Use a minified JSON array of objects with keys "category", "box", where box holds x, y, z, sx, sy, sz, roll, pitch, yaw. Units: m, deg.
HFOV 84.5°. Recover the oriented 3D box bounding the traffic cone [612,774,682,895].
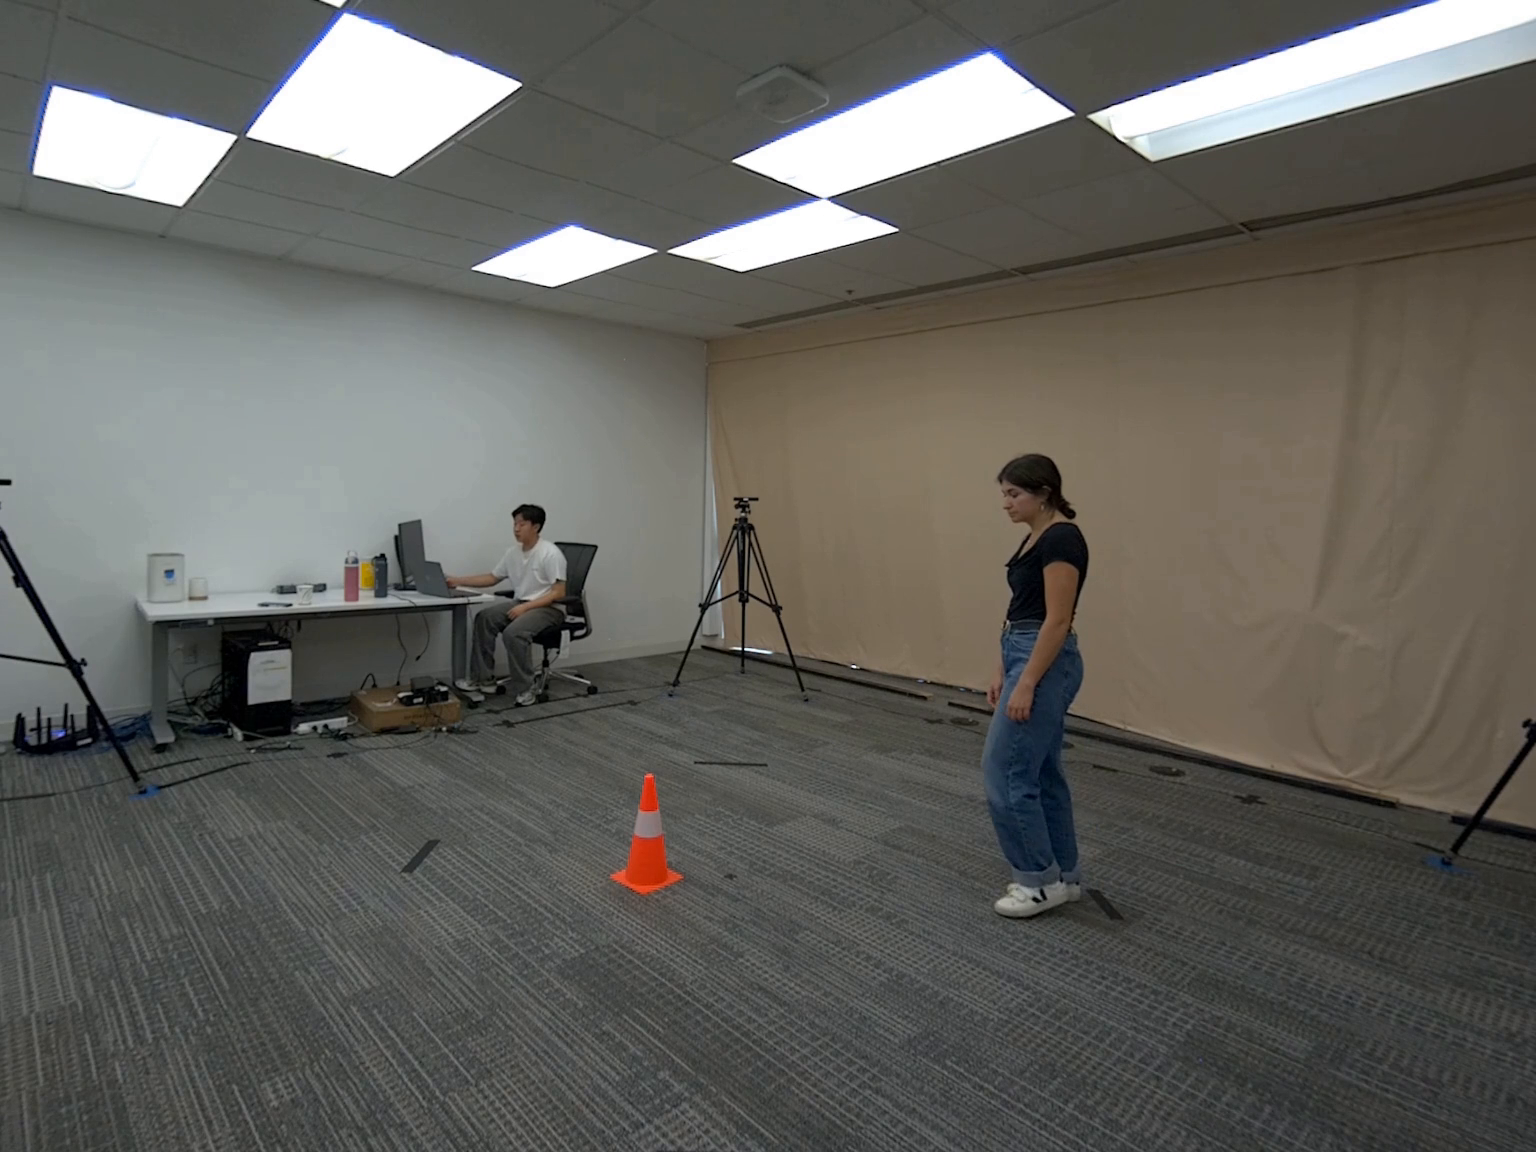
[{"category":"traffic cone","box":[-0.441,0.917,3.077,0.210,0.383,0.199,5,4,39]}]
